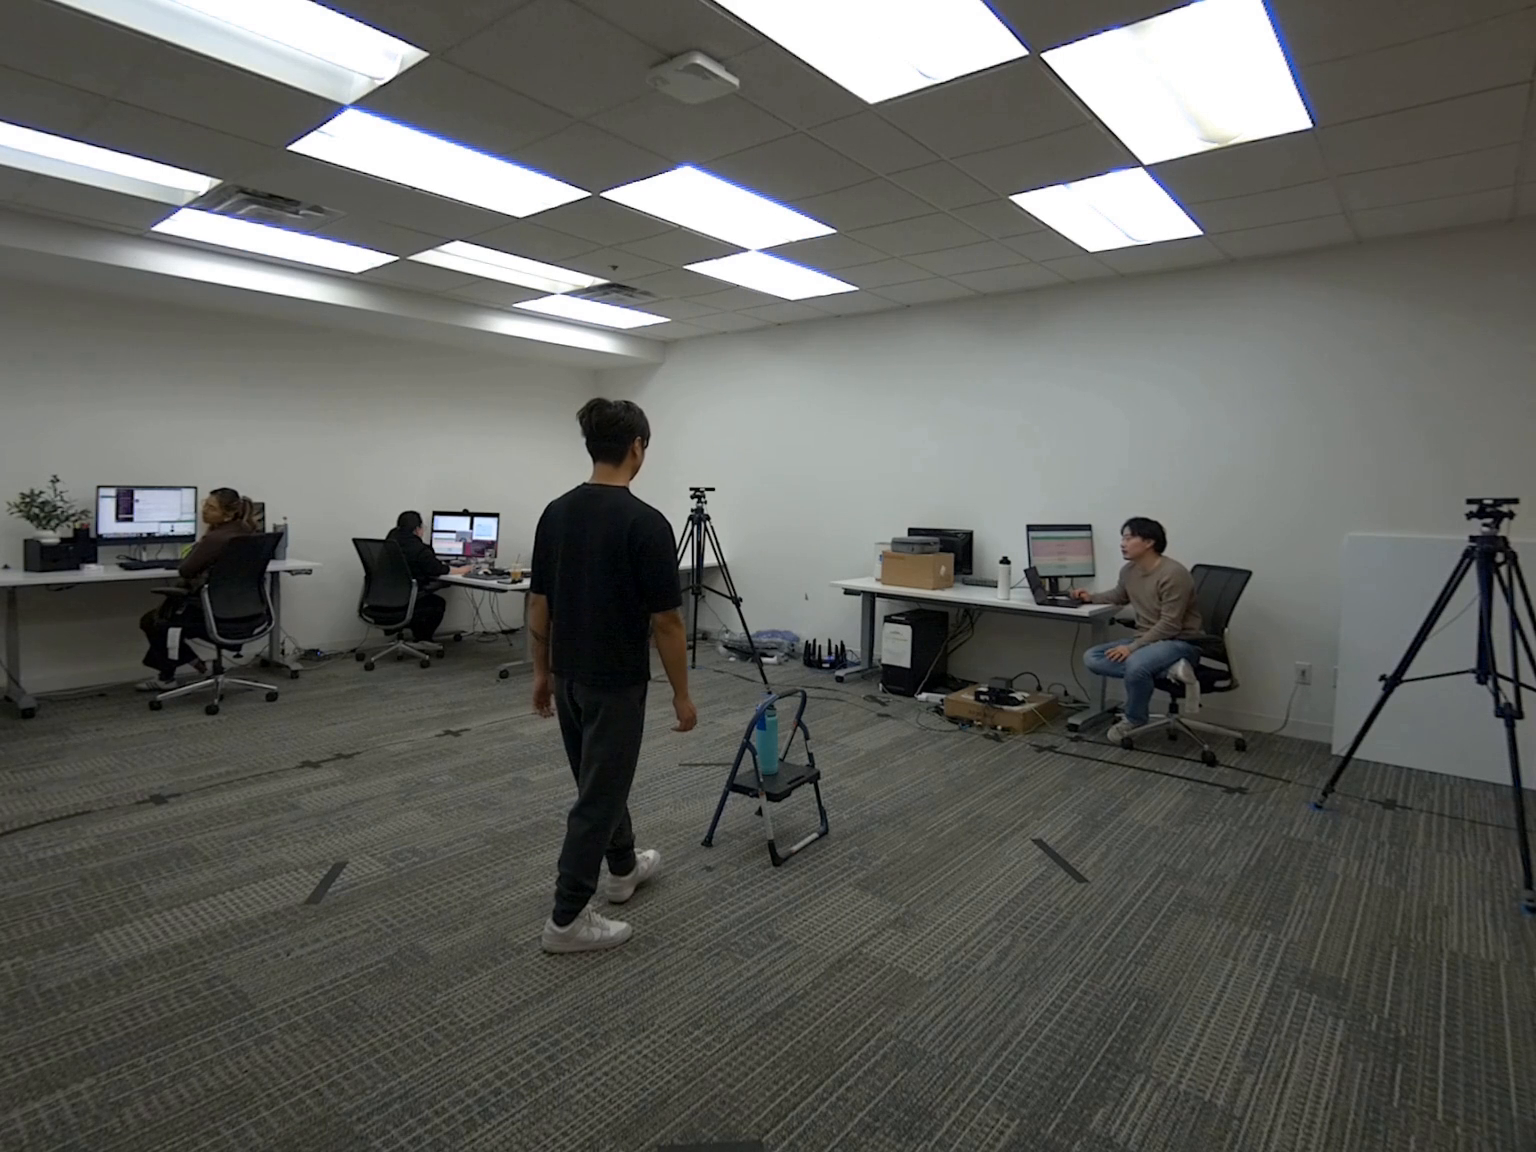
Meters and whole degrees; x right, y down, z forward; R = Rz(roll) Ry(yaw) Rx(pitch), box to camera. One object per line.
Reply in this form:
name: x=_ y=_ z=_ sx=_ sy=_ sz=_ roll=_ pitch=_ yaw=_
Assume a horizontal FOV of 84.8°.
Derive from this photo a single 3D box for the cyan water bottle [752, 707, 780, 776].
cyan water bottle: x=-0.015 y=0.640 z=3.408 sx=0.092 sy=0.283 sz=0.093 roll=1 pitch=3 yaw=-2
